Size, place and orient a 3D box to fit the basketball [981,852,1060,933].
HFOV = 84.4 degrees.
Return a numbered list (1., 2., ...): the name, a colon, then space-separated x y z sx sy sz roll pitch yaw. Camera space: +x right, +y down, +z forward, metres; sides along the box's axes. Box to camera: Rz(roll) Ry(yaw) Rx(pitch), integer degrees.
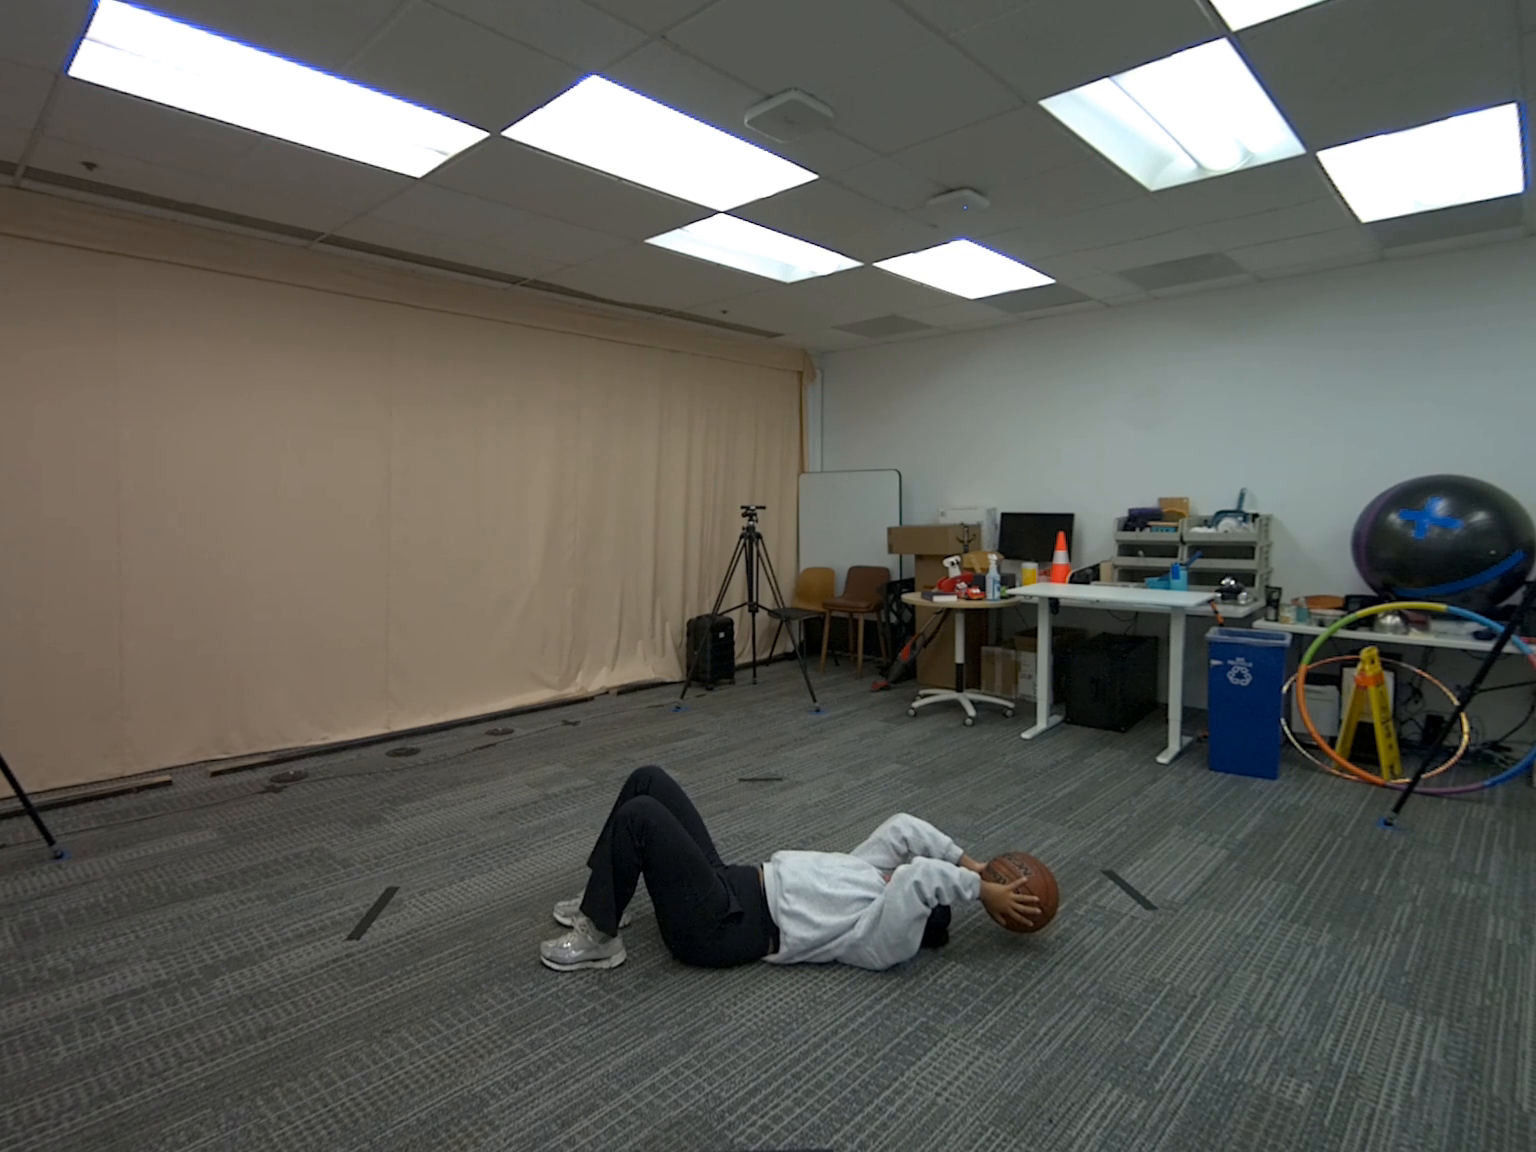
1. basketball: 0.804 0.996 2.668 0.236 0.235 0.237 0 4 -2
